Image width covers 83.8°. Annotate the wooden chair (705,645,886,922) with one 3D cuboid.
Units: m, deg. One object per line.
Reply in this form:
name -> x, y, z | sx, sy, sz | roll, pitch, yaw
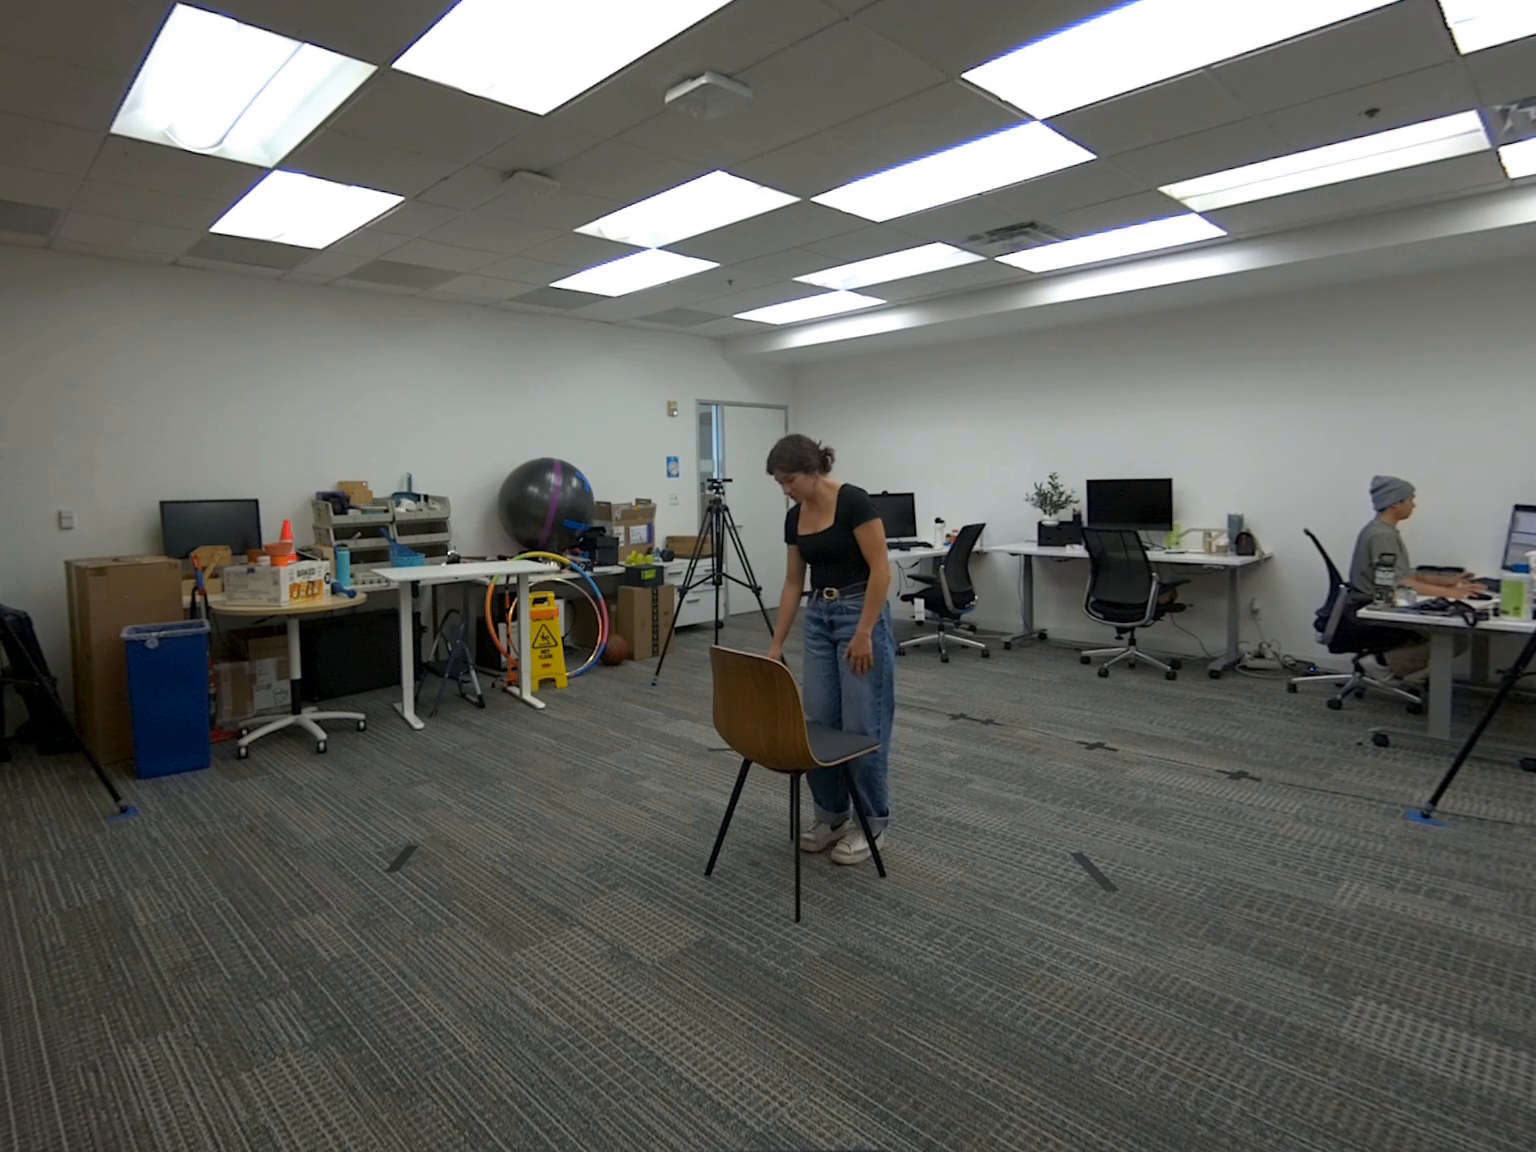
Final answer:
wooden chair -> 0.091, 0.633, 2.969 | 0.511, 0.872, 0.493 | -10, 9, -43
